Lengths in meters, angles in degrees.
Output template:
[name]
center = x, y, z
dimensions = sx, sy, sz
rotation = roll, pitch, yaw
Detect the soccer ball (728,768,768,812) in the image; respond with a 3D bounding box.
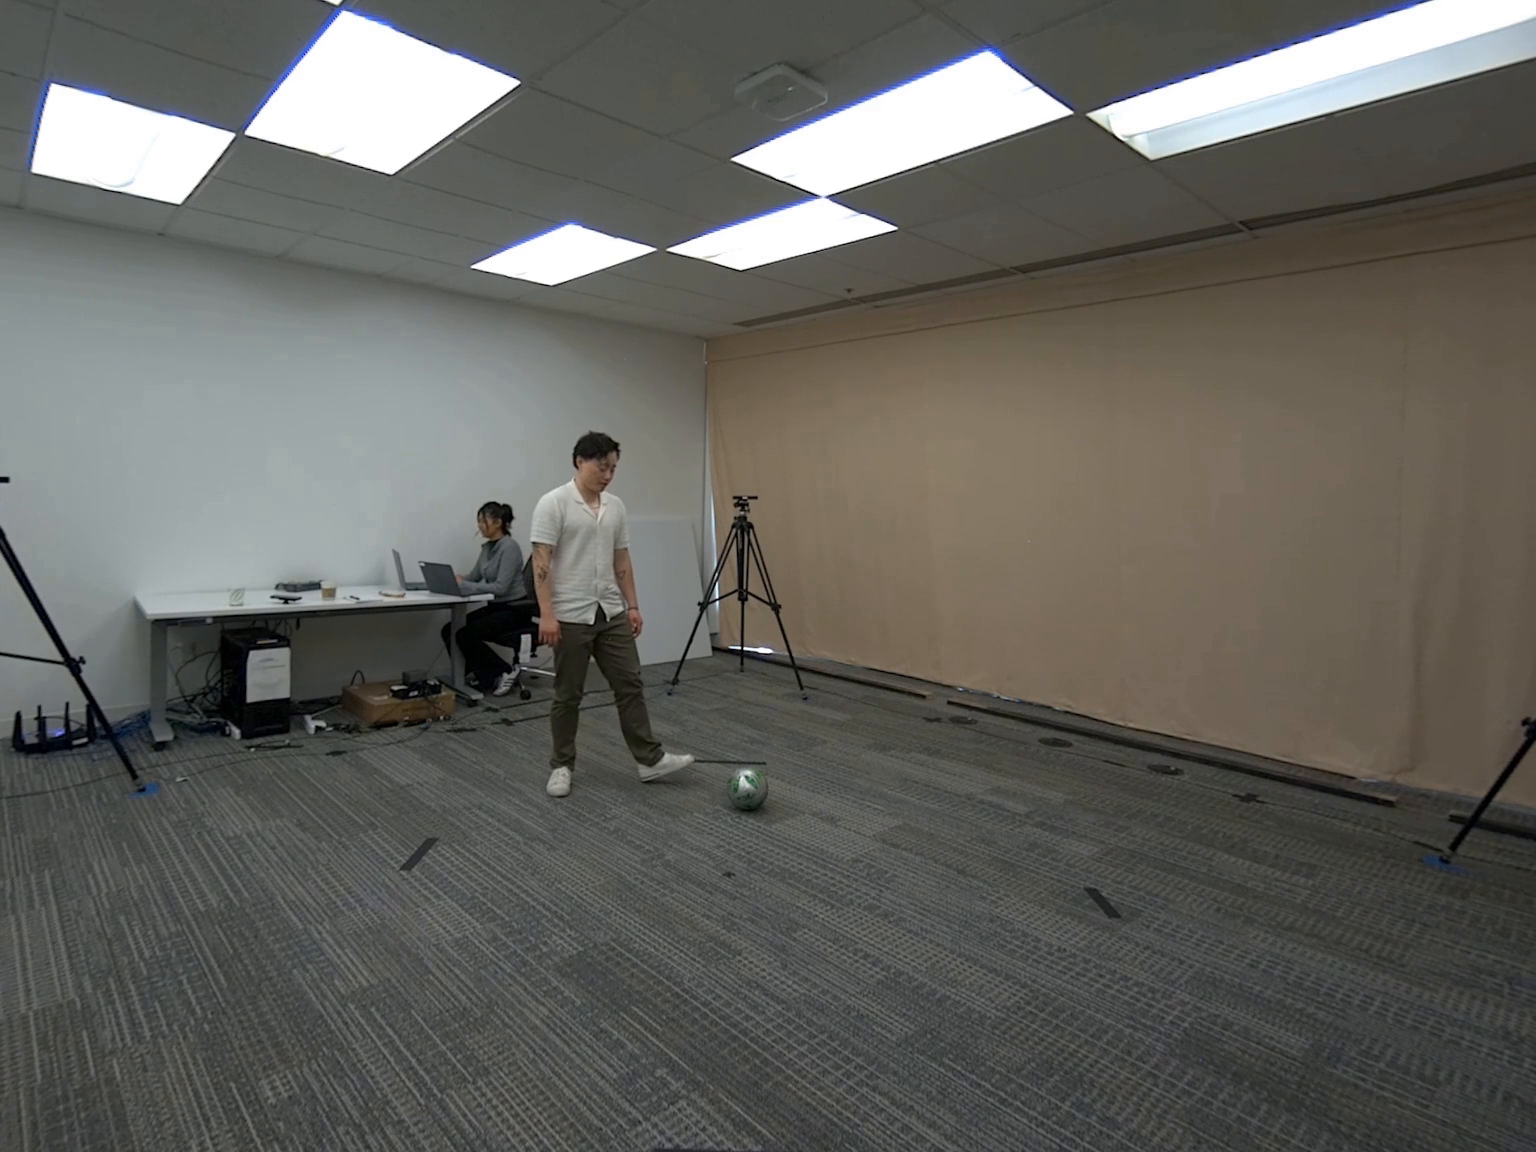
[soccer ball]
center = -0.106, 0.951, 3.776
dimensions = 0.187, 0.187, 0.188
rotation = 1, 4, -1
